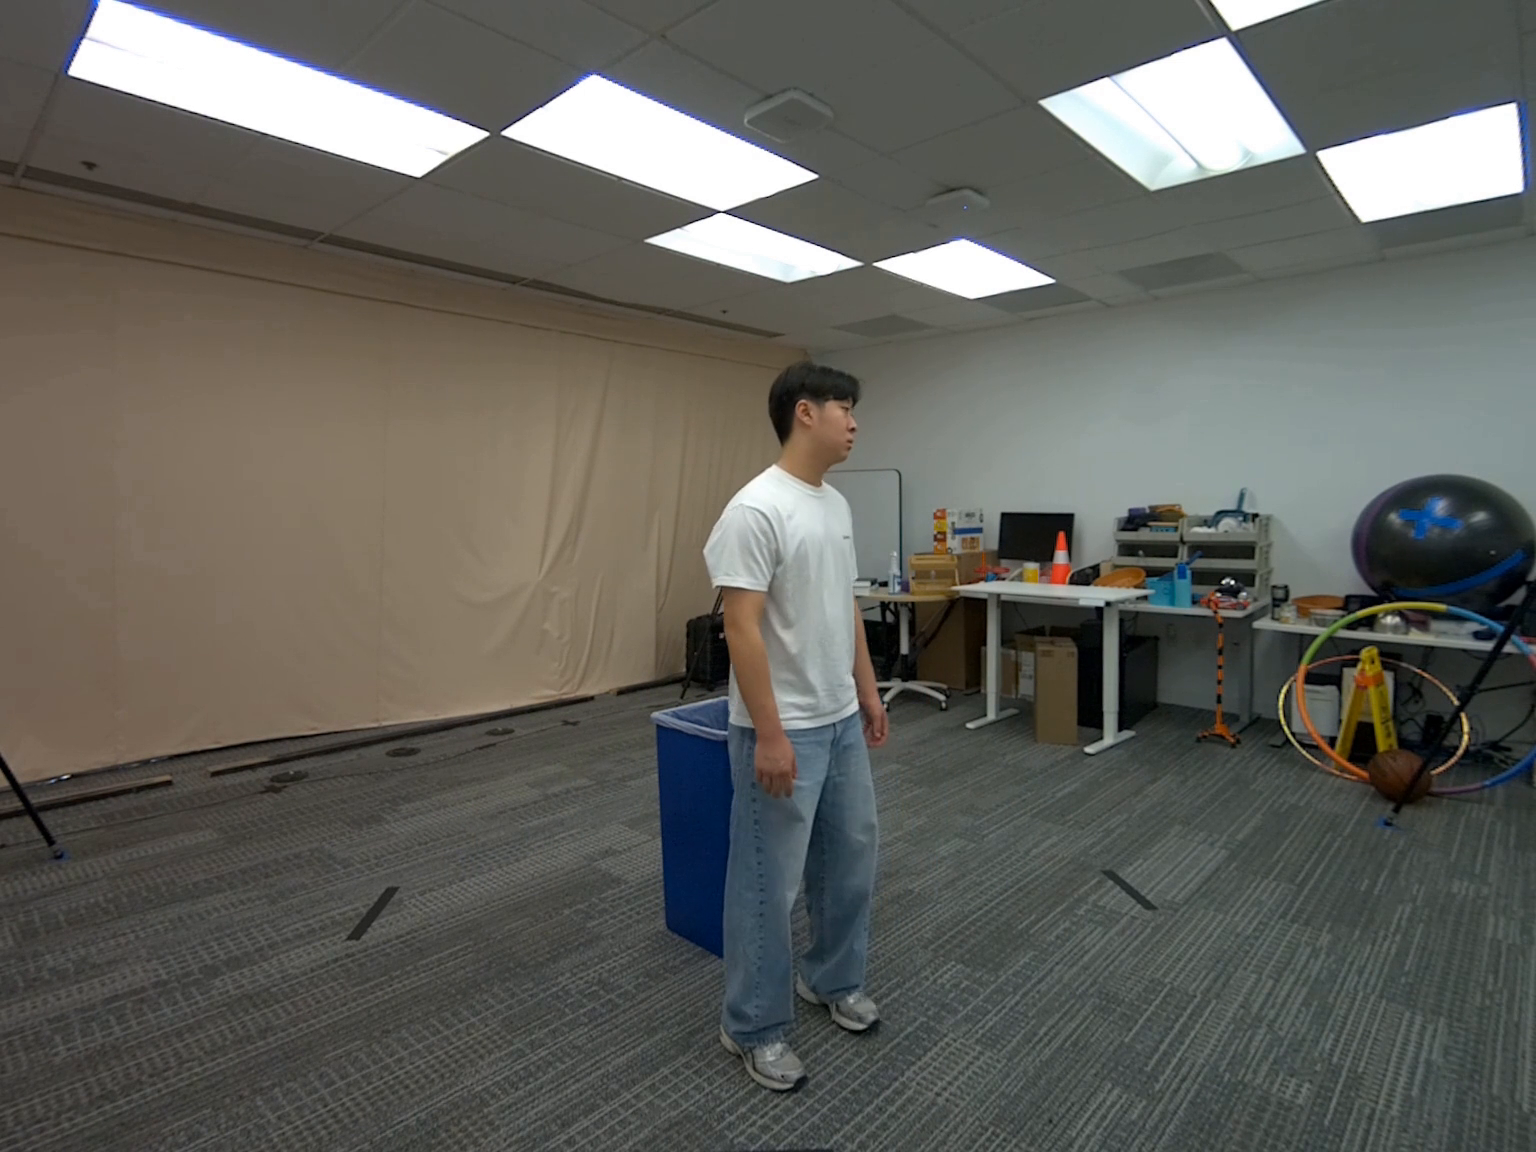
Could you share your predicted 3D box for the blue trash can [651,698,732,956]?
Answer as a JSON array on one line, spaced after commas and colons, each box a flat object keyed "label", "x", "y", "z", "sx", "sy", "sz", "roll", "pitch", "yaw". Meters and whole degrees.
[{"label": "blue trash can", "x": -0.140, "y": 0.803, "z": 2.768, "sx": 0.386, "sy": 0.712, "sz": 0.366, "roll": 3, "pitch": 4, "yaw": 43}]
